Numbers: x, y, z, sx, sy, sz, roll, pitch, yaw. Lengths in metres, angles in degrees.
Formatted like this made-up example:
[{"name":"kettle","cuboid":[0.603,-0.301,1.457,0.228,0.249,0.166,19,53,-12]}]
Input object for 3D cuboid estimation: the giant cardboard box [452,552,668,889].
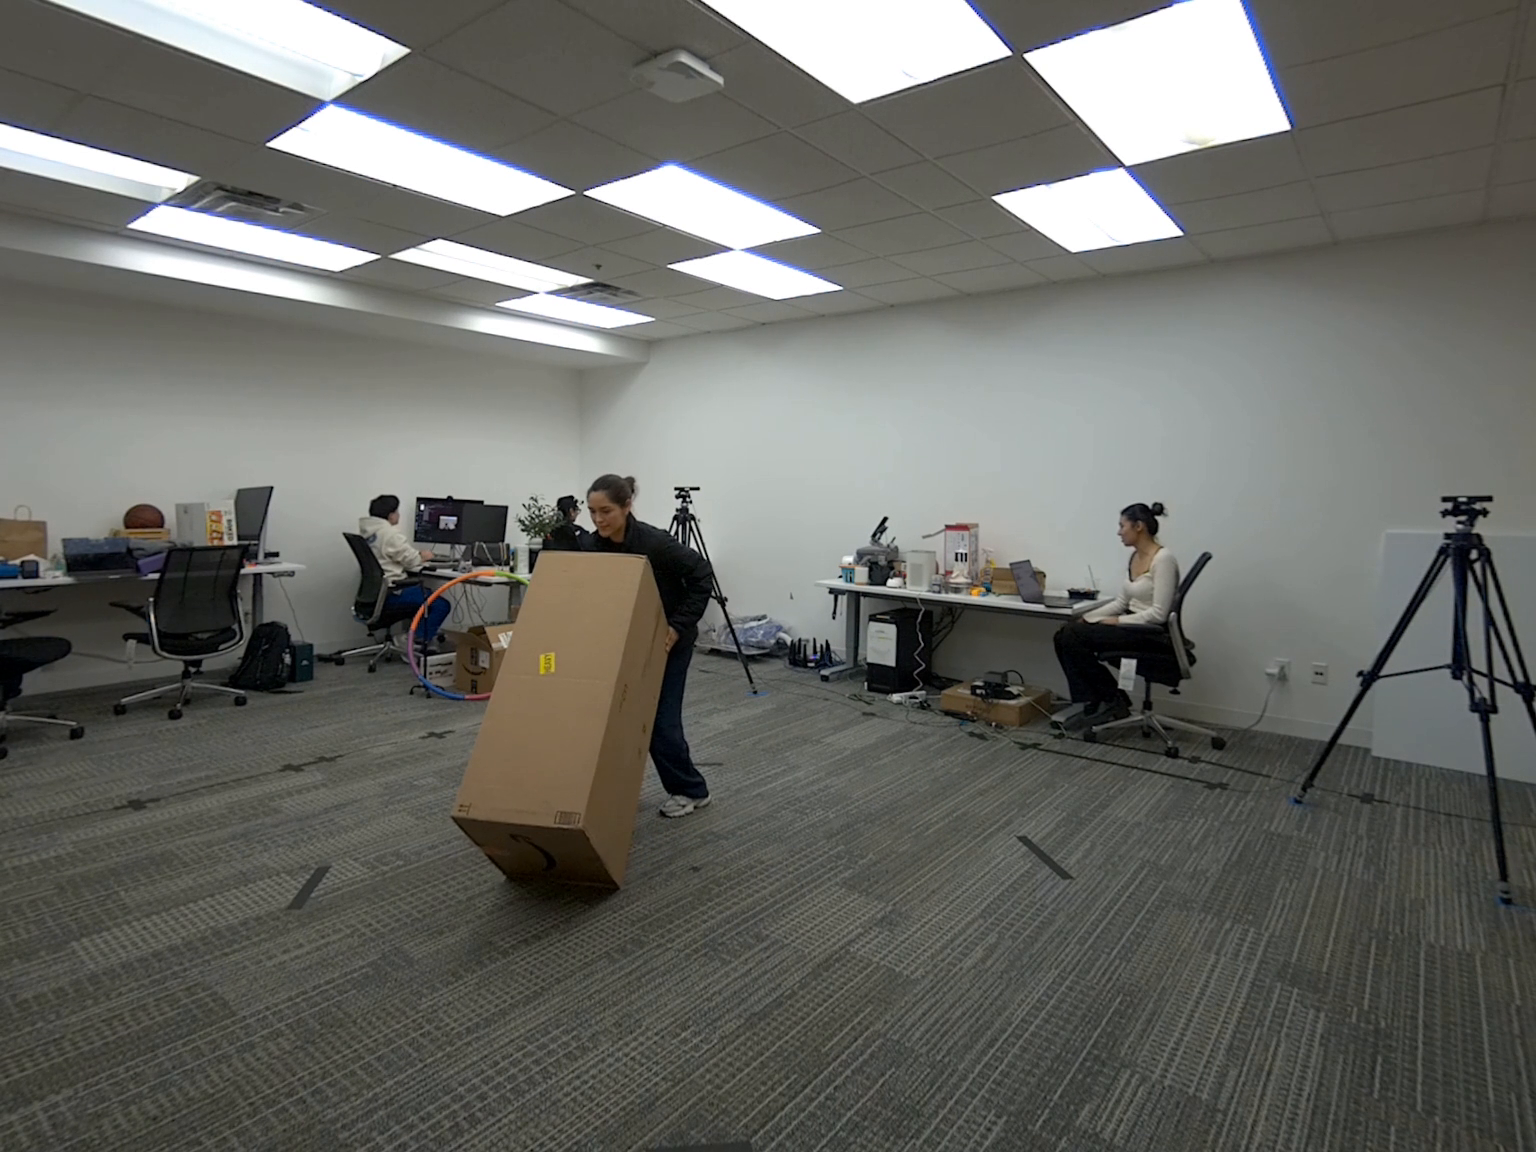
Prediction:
[{"name":"giant cardboard box","cuboid":[-0.678,0.490,3.089,0.452,1.051,0.564,0,-37,9]}]
